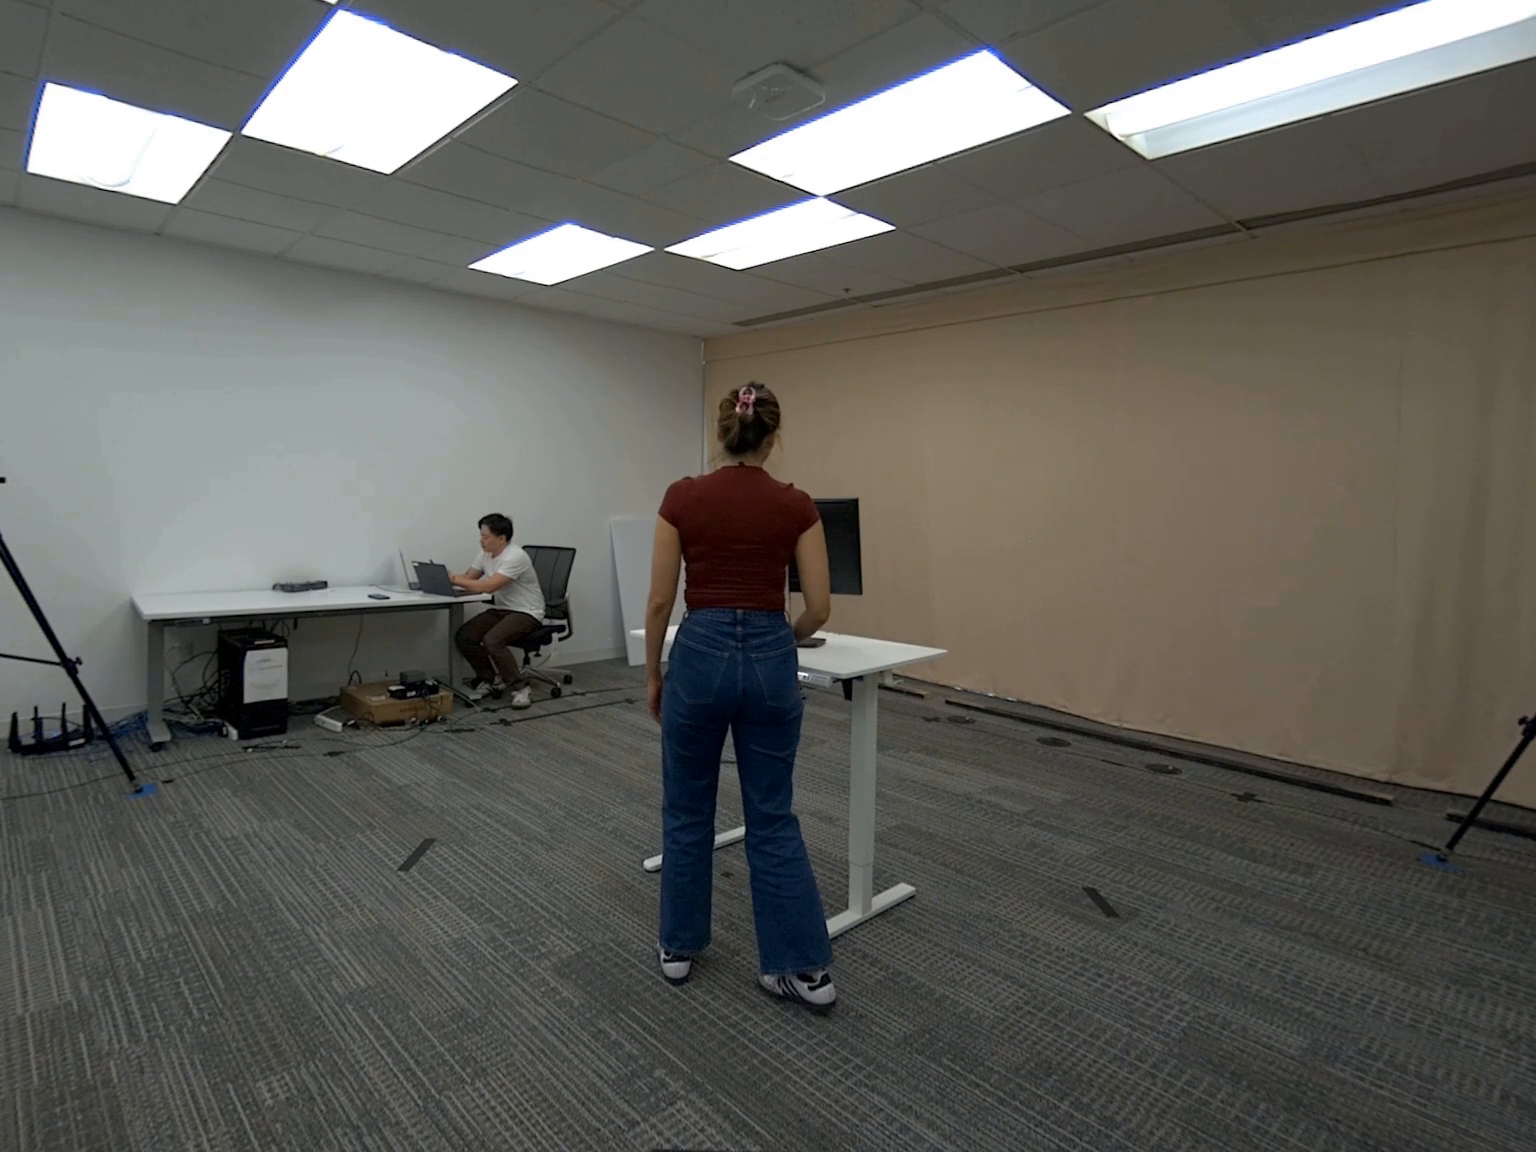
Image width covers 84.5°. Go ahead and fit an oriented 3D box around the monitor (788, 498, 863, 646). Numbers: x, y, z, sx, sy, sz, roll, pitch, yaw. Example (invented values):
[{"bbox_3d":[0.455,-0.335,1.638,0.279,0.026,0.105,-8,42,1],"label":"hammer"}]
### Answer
[{"bbox_3d":[0.053,-0.014,2.961,0.547,0.521,0.185,2,4,19],"label":"monitor"}]
